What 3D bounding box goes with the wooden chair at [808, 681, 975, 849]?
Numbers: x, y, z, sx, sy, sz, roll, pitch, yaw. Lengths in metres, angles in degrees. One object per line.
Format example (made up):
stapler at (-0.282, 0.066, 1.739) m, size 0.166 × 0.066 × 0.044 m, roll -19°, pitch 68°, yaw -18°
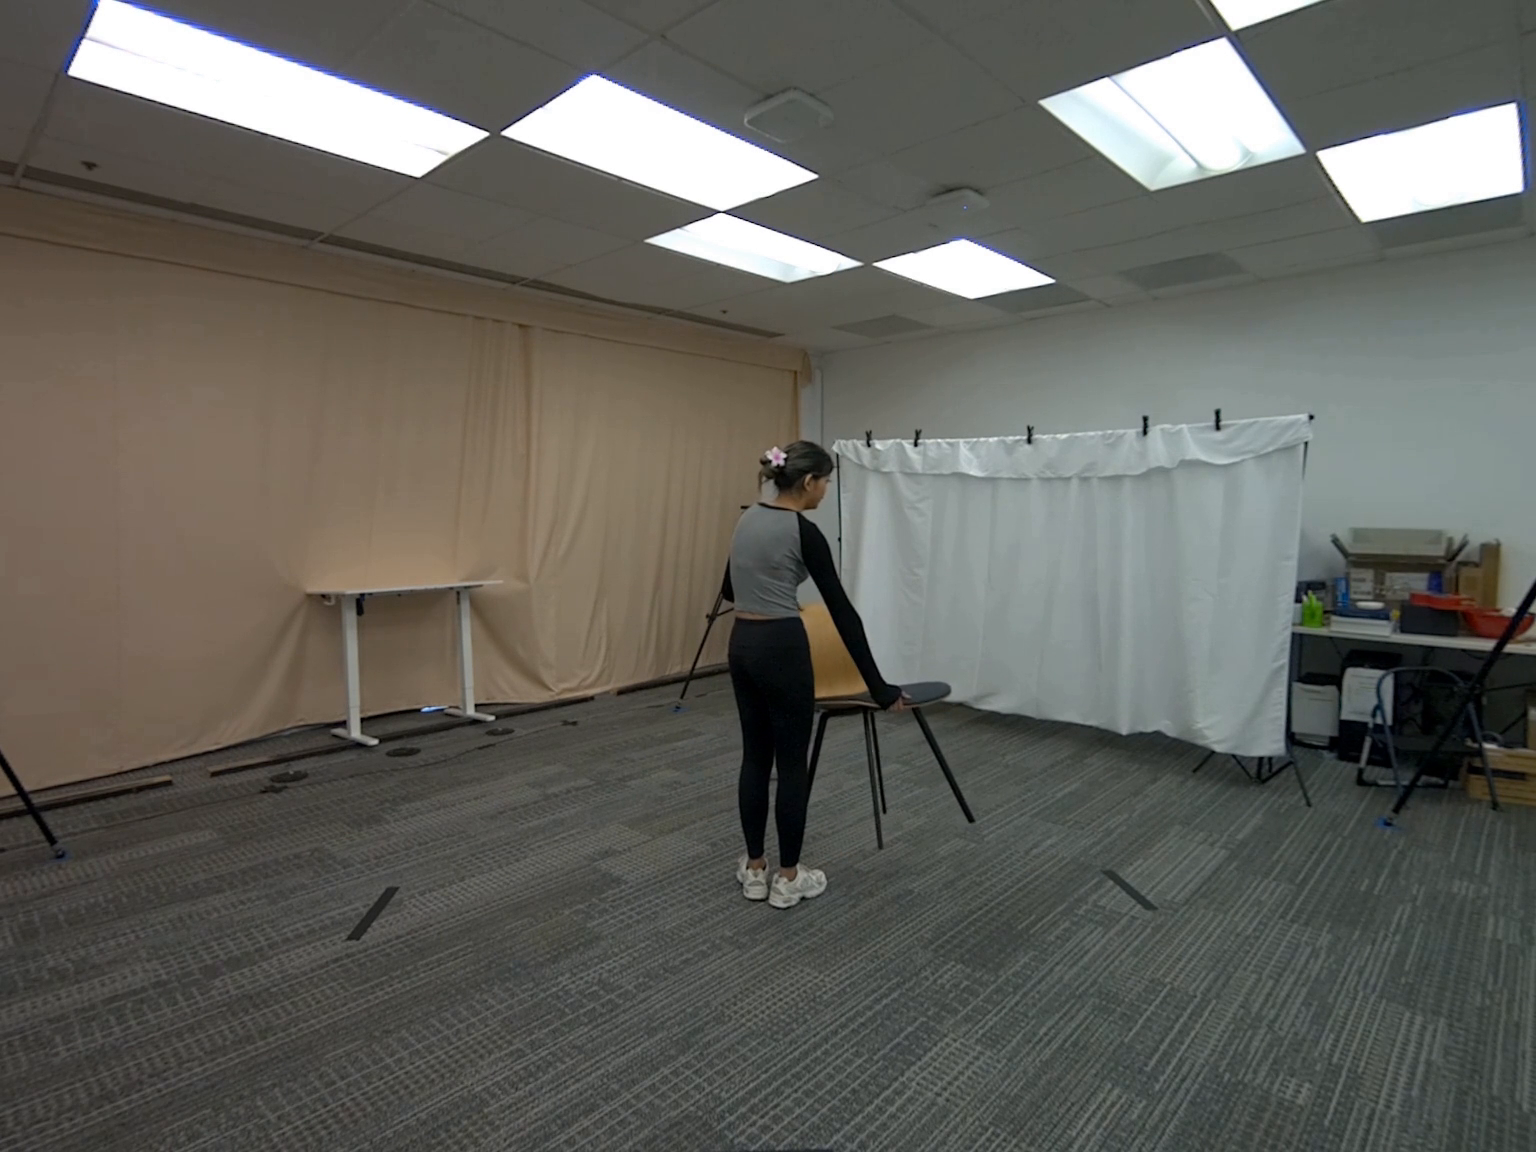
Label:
wooden chair at (0.374, 0.491, 3.053) m, size 0.464 × 0.885 × 0.534 m, roll -1°, pitch -13°, yaw -35°
